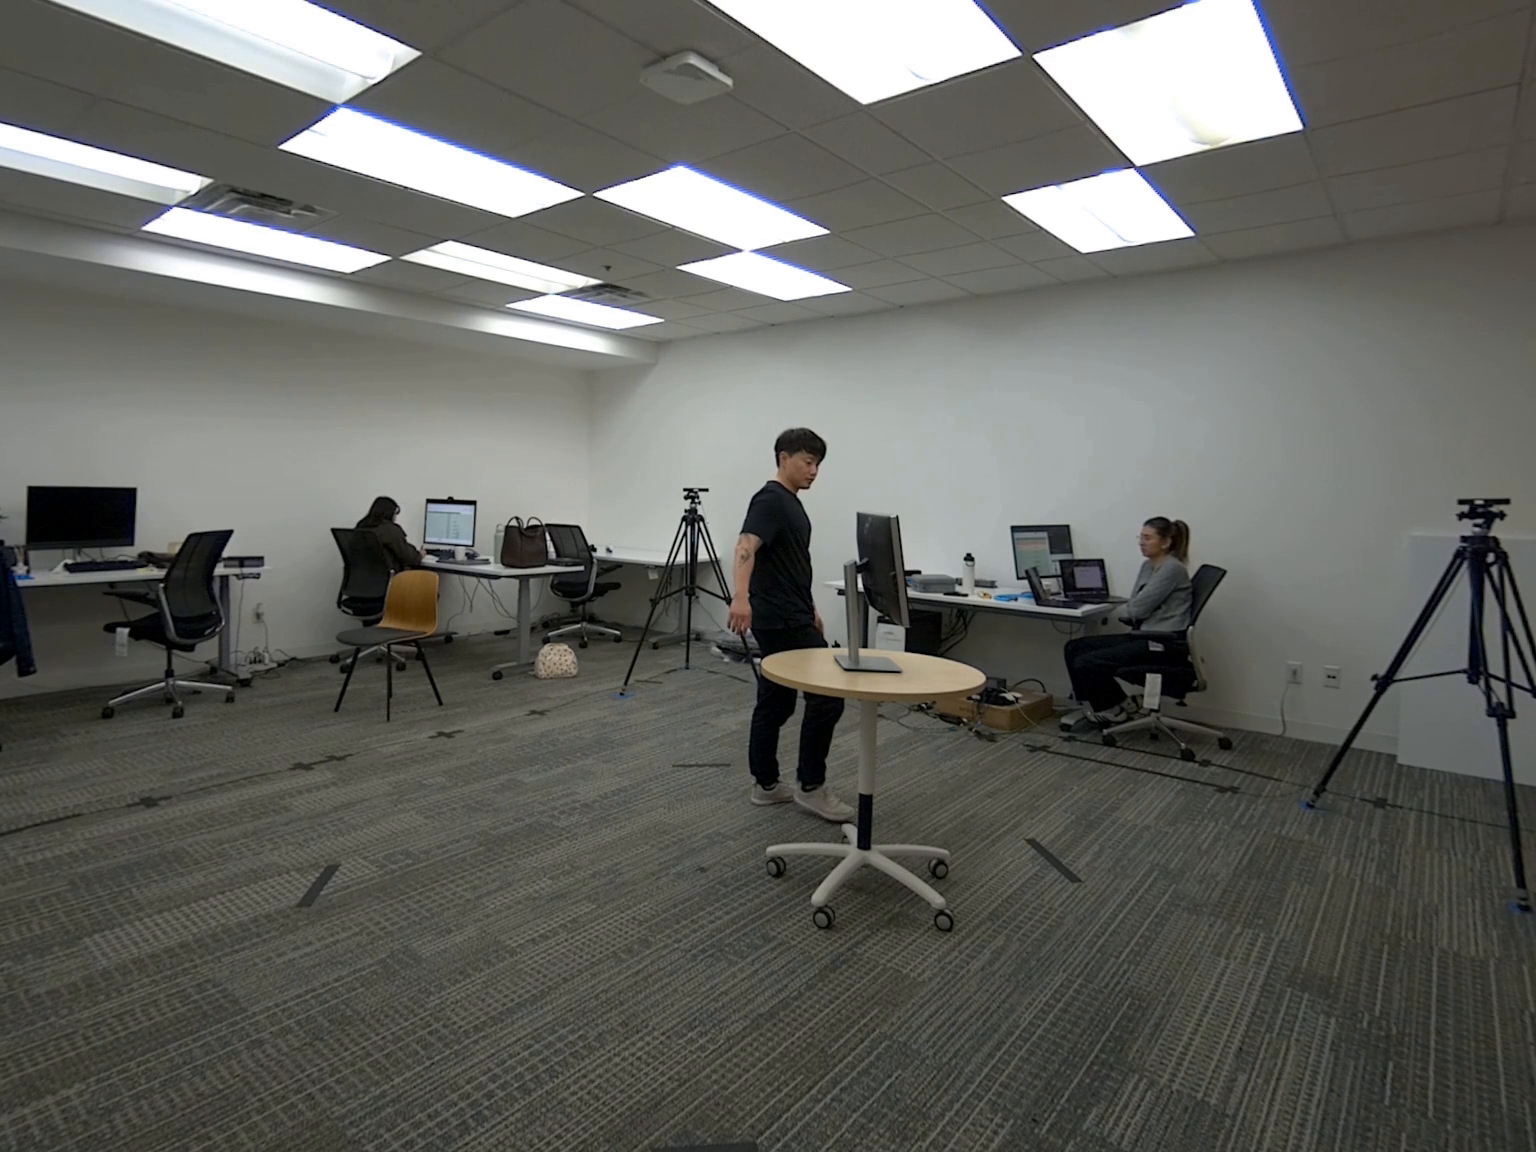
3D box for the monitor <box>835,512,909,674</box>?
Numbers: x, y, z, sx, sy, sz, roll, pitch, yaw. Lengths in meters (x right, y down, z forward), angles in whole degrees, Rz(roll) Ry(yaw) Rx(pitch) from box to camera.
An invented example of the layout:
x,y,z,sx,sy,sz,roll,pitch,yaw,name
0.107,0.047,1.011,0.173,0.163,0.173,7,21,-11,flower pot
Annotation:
x,y,z,sx,sy,sz,roll,pitch,yaw,name
0.350,0.045,2.993,0.186,0.521,0.545,3,4,-8,monitor
